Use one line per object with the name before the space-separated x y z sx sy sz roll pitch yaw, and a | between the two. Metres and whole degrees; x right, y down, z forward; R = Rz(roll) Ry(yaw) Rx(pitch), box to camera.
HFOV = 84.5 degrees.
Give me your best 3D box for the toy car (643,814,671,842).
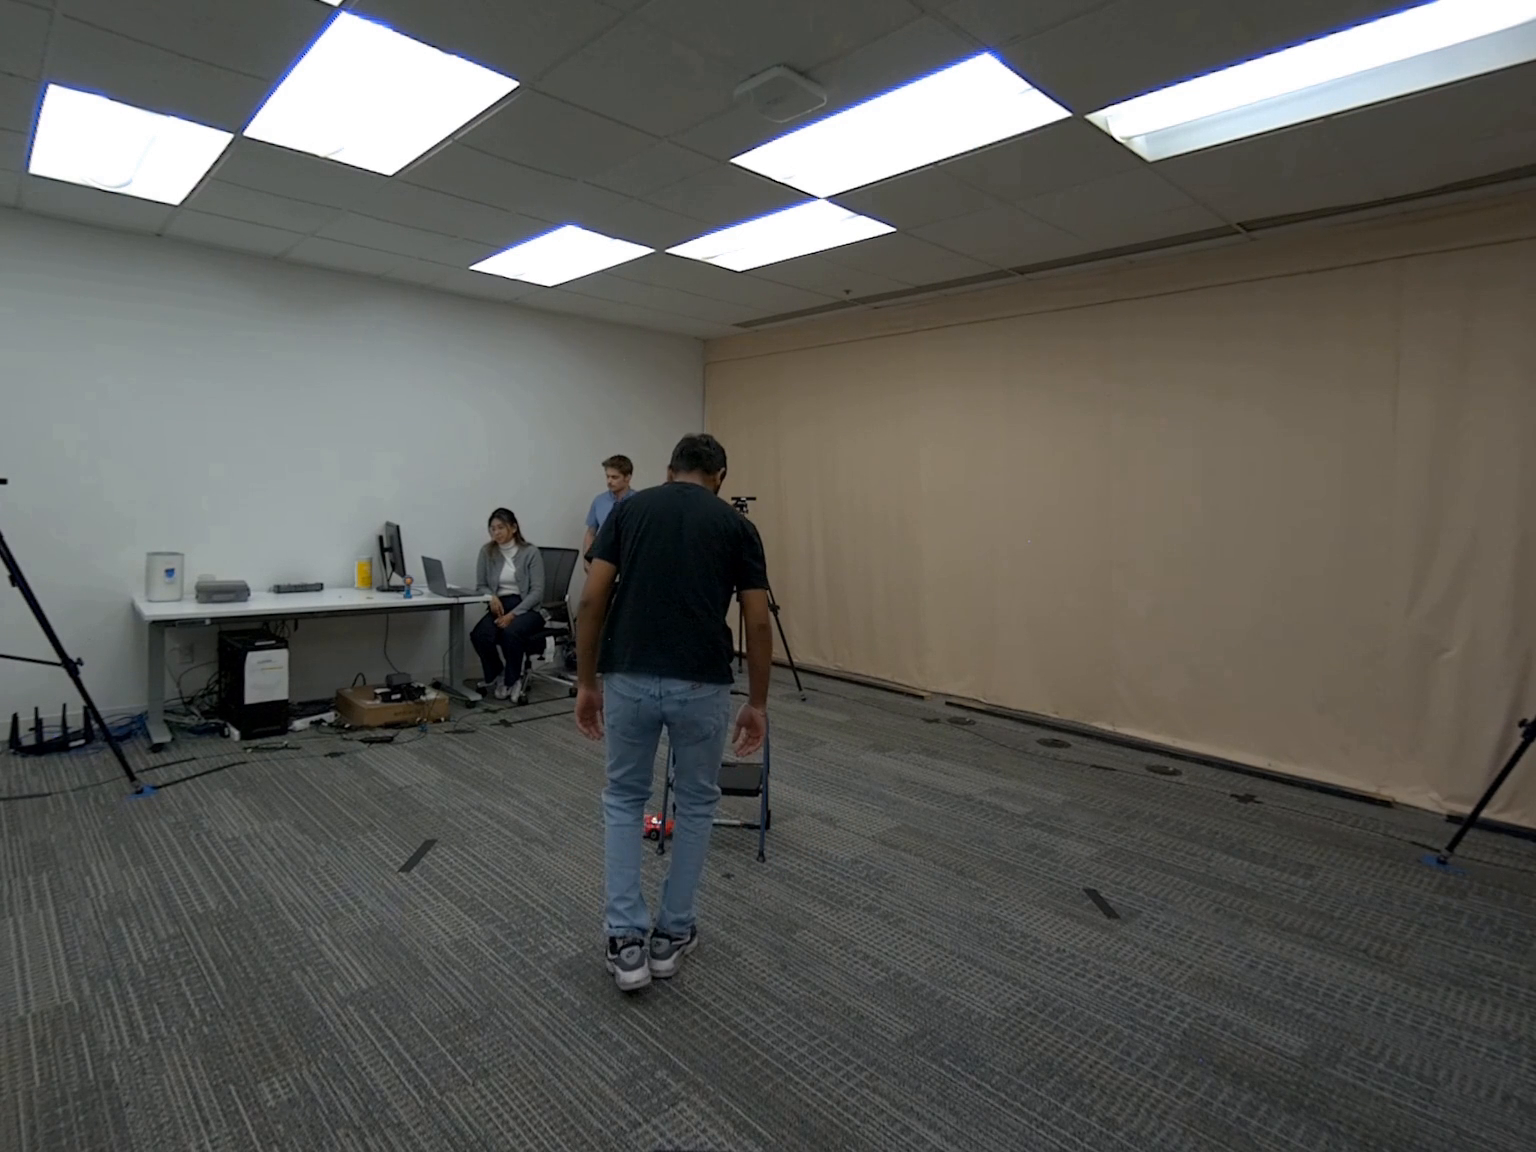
toy car | -0.525 1.048 3.476 0.256 0.083 0.130 -12 3 10
